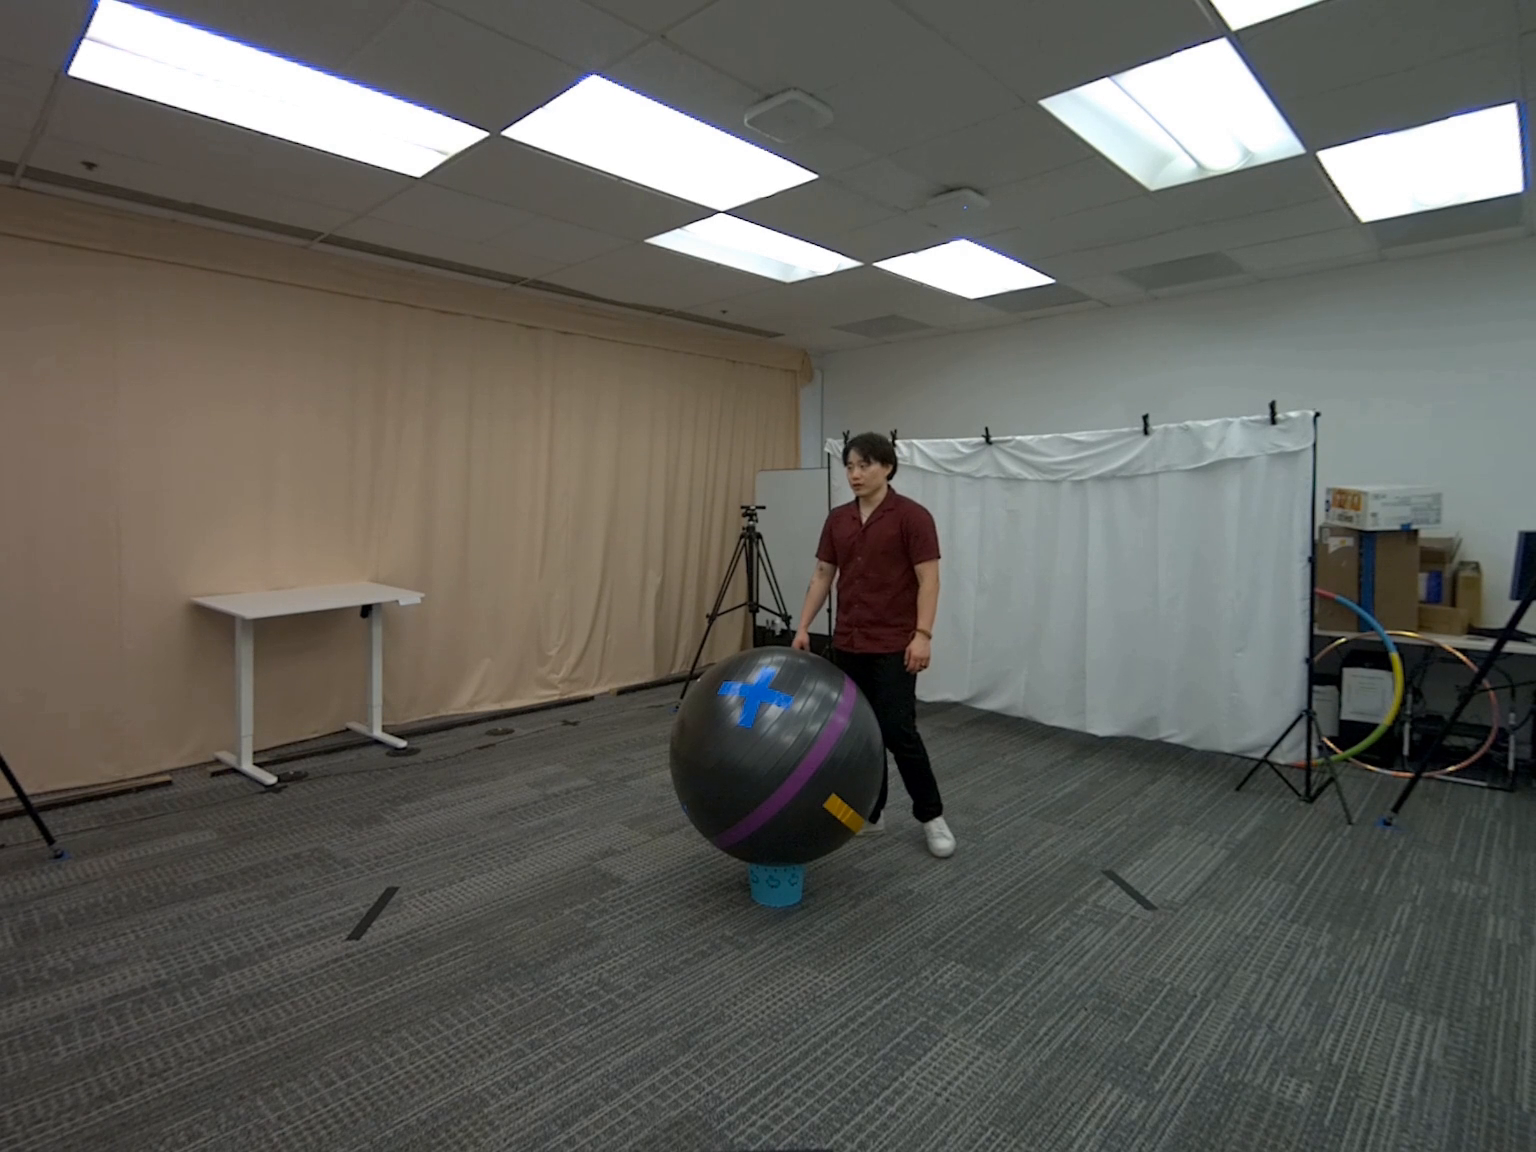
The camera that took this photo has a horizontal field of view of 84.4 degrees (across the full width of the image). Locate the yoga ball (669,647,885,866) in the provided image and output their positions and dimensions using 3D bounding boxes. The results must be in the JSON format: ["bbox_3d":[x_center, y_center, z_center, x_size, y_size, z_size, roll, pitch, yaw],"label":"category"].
[{"bbox_3d":[0.023,0.630,2.996,0.757,0.756,0.761,0,4,-2],"label":"yoga ball"}]
